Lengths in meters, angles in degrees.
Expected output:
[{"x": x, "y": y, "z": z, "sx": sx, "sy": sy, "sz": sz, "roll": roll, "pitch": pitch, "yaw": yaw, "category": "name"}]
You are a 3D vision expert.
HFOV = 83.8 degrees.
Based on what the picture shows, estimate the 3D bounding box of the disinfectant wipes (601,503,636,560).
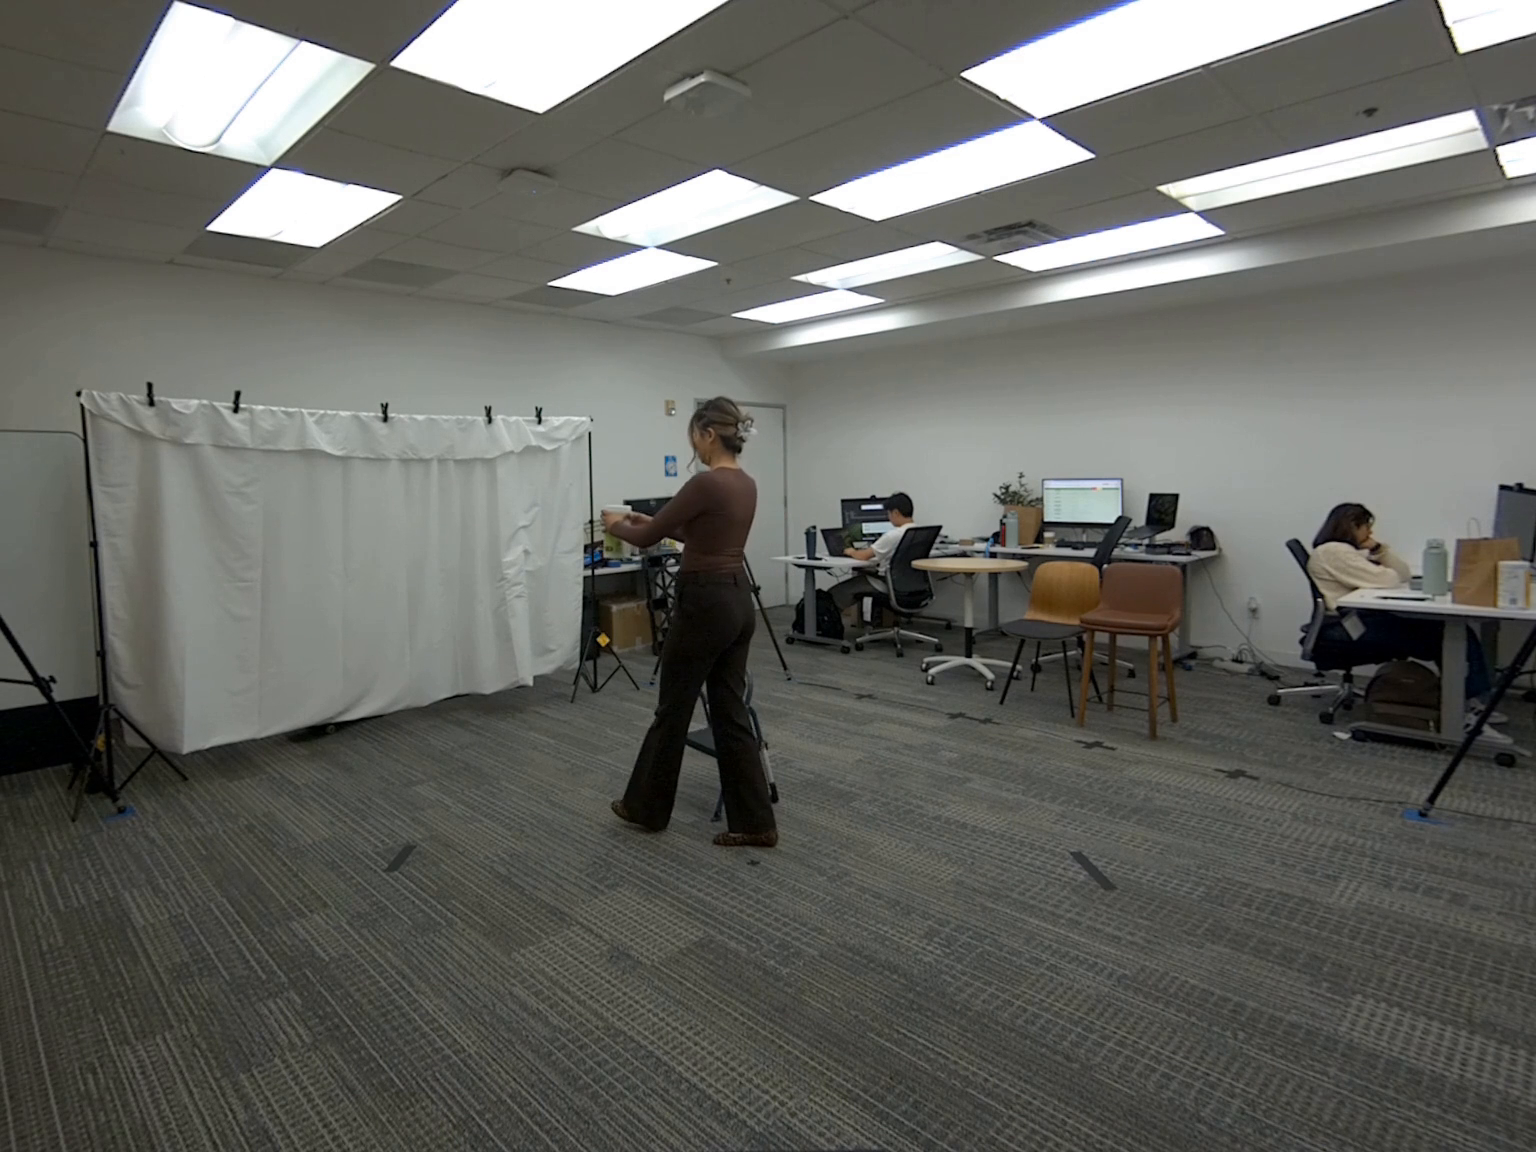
[{"x": -0.605, "y": -0.183, "z": 3.465, "sx": 0.118, "sy": 0.217, "sz": 0.118, "roll": 2, "pitch": 3, "yaw": -2, "category": "disinfectant wipes"}]
